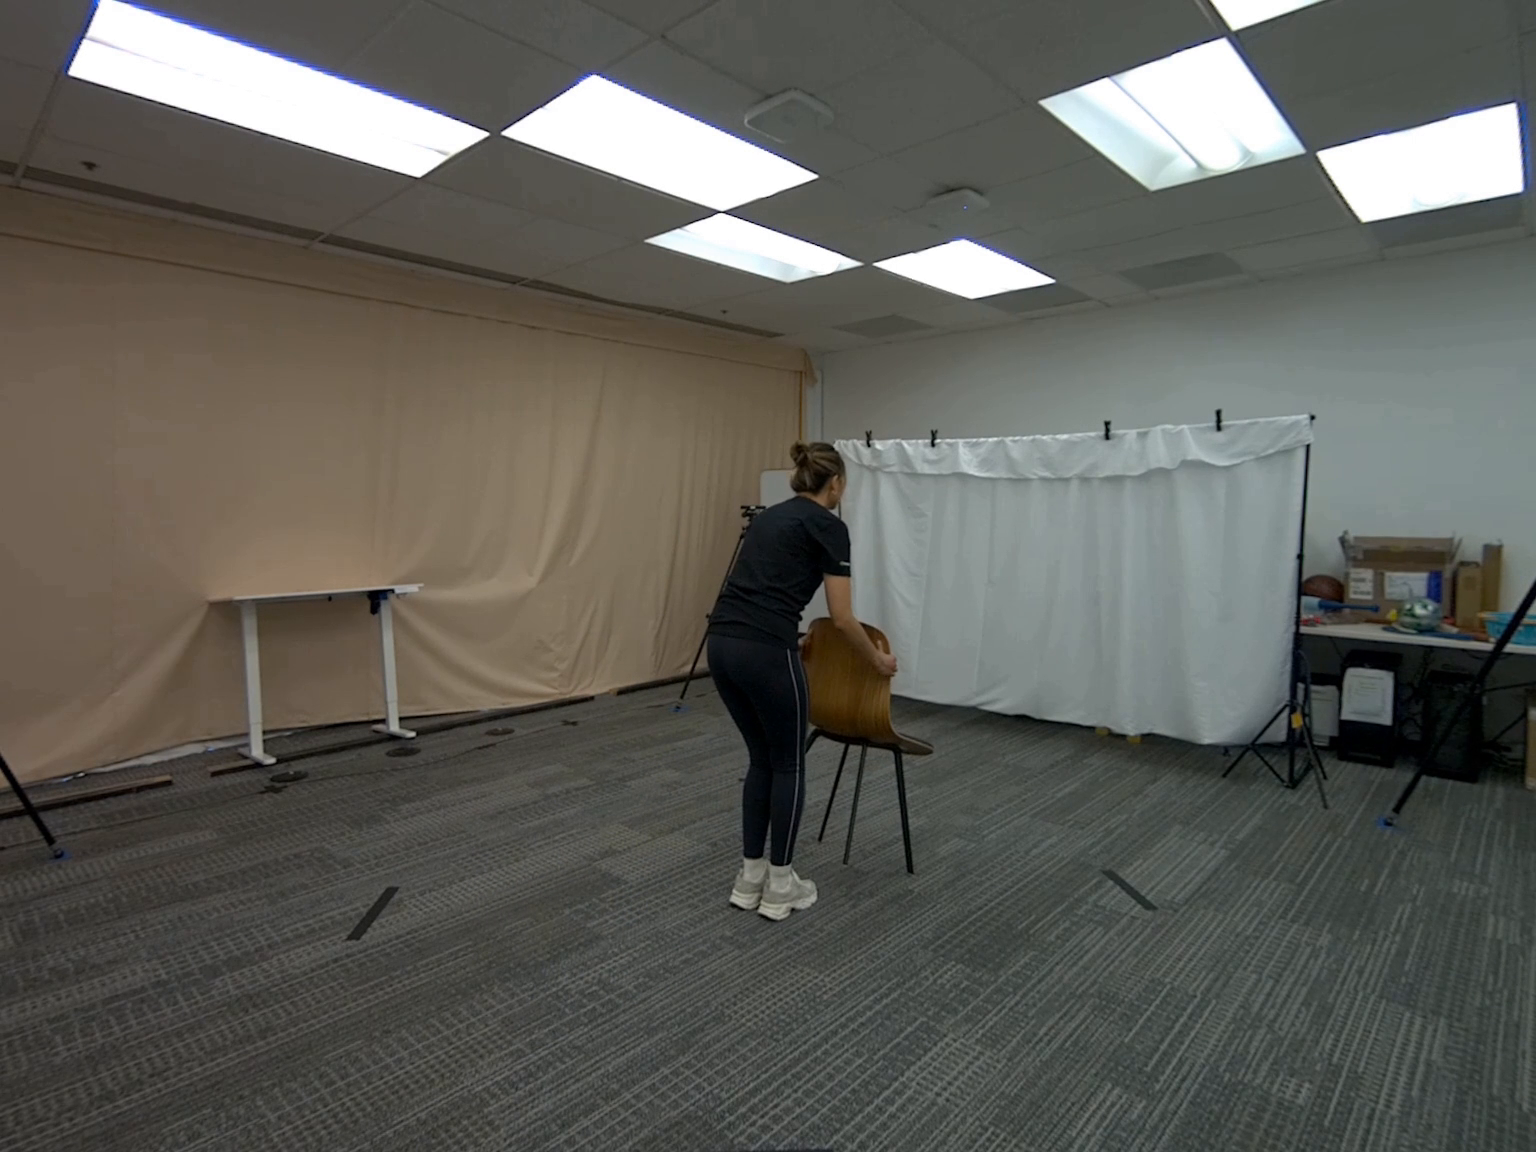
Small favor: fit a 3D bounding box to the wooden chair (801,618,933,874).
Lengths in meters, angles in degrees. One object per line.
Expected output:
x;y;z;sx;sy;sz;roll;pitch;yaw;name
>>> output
0.351;0.644;3.269;0.494;0.880;0.504;3;-12;43;wooden chair
